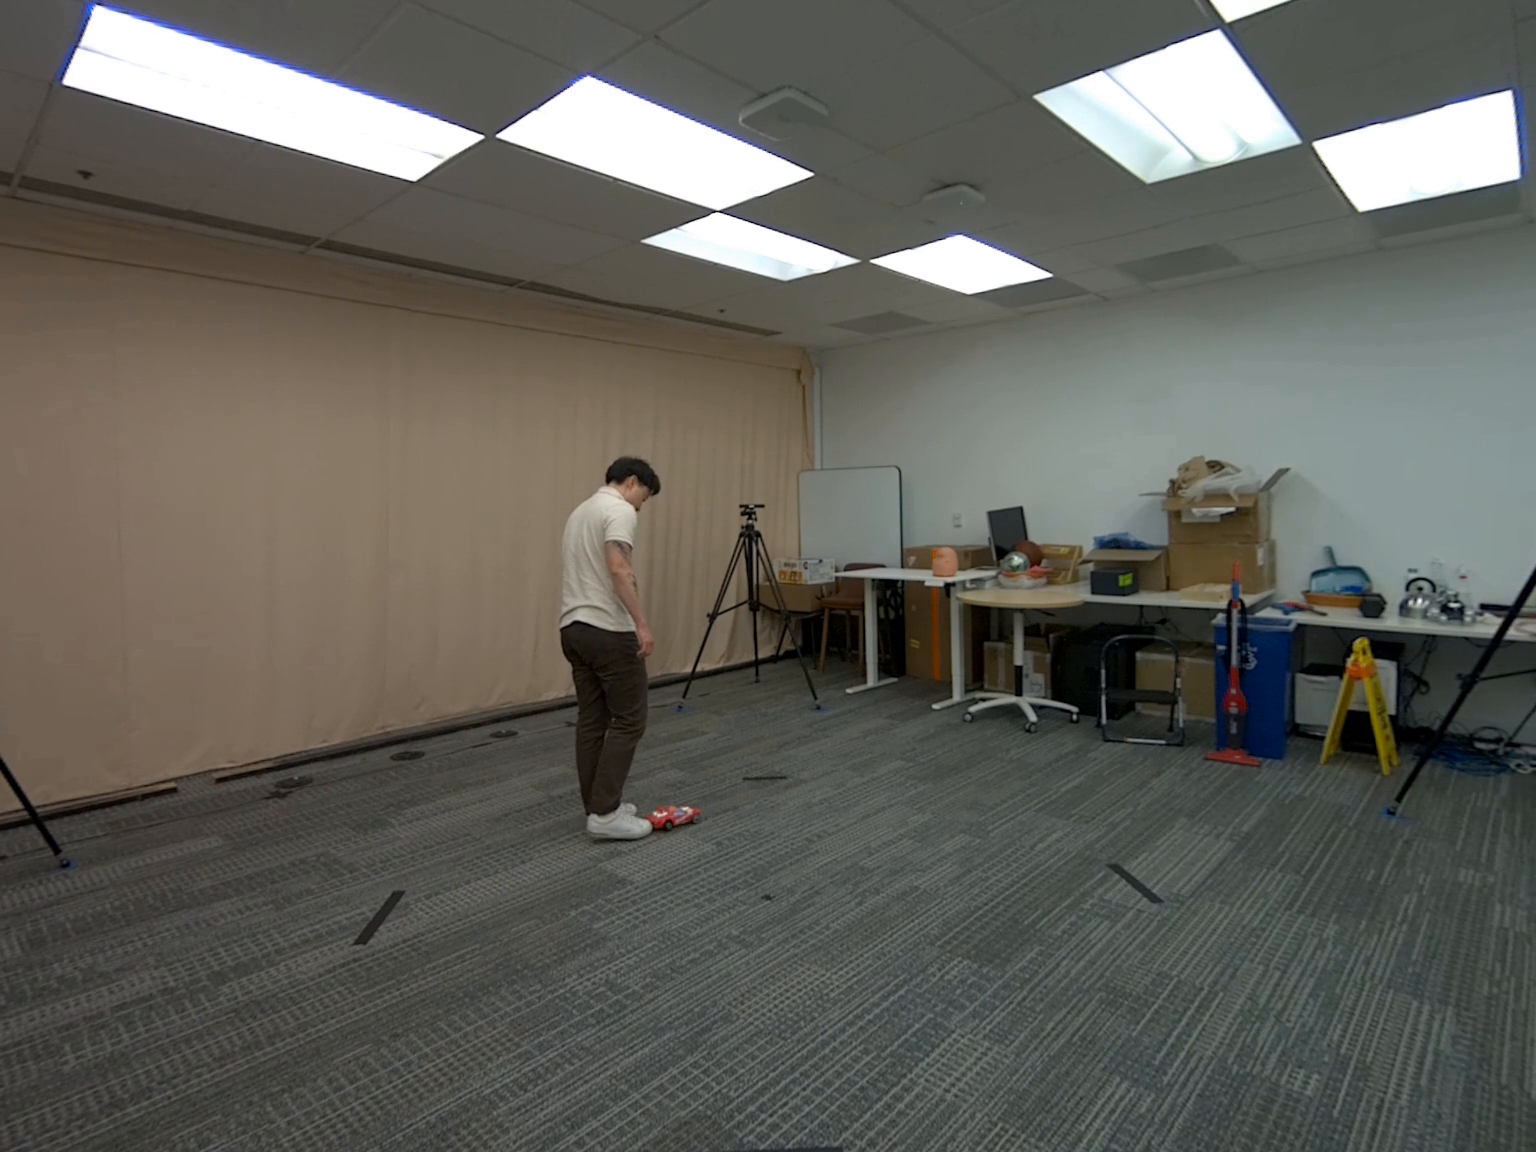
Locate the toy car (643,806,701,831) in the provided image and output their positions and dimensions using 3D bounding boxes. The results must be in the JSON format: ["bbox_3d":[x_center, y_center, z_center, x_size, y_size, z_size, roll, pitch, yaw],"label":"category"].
[{"bbox_3d":[-0.418,1.058,3.677,0.247,0.083,0.134,11,-3,-32],"label":"toy car"}]
